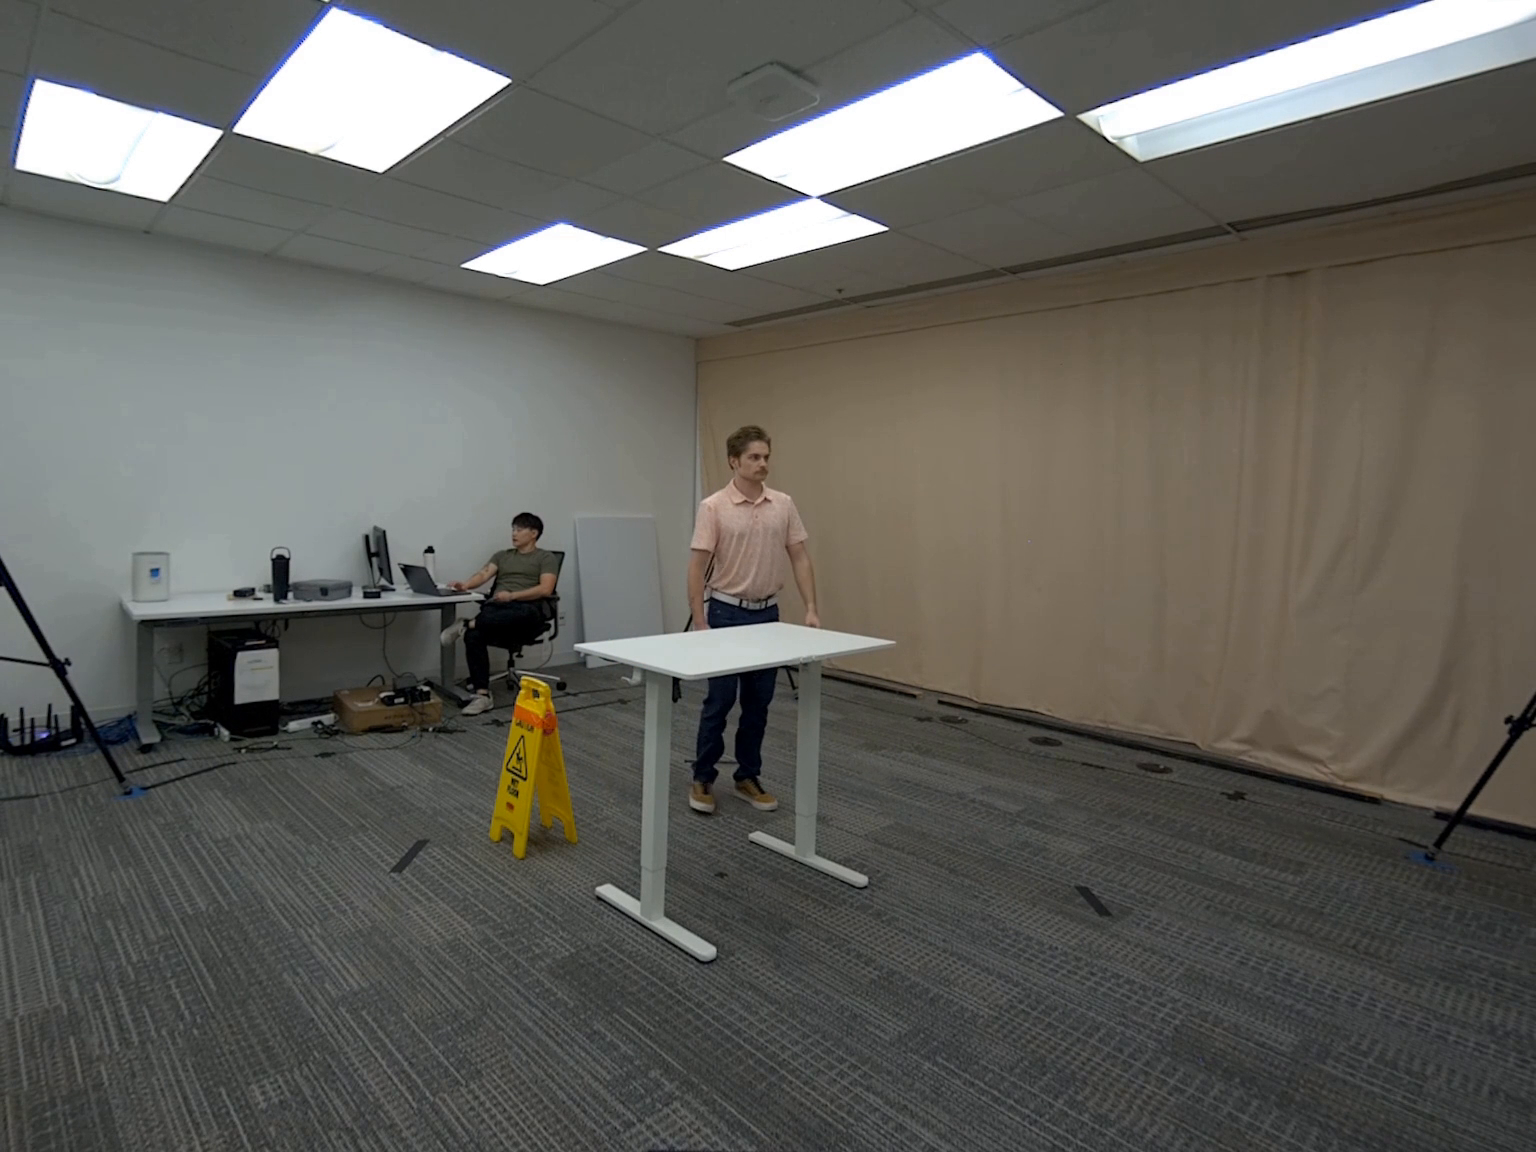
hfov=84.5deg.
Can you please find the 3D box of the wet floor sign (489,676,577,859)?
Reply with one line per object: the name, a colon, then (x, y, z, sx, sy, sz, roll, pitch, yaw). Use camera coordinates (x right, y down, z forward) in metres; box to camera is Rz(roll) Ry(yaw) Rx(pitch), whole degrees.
wet floor sign: (-0.938, 0.740, 3.367, 0.283, 0.644, 0.289, 0, 5, -44)
